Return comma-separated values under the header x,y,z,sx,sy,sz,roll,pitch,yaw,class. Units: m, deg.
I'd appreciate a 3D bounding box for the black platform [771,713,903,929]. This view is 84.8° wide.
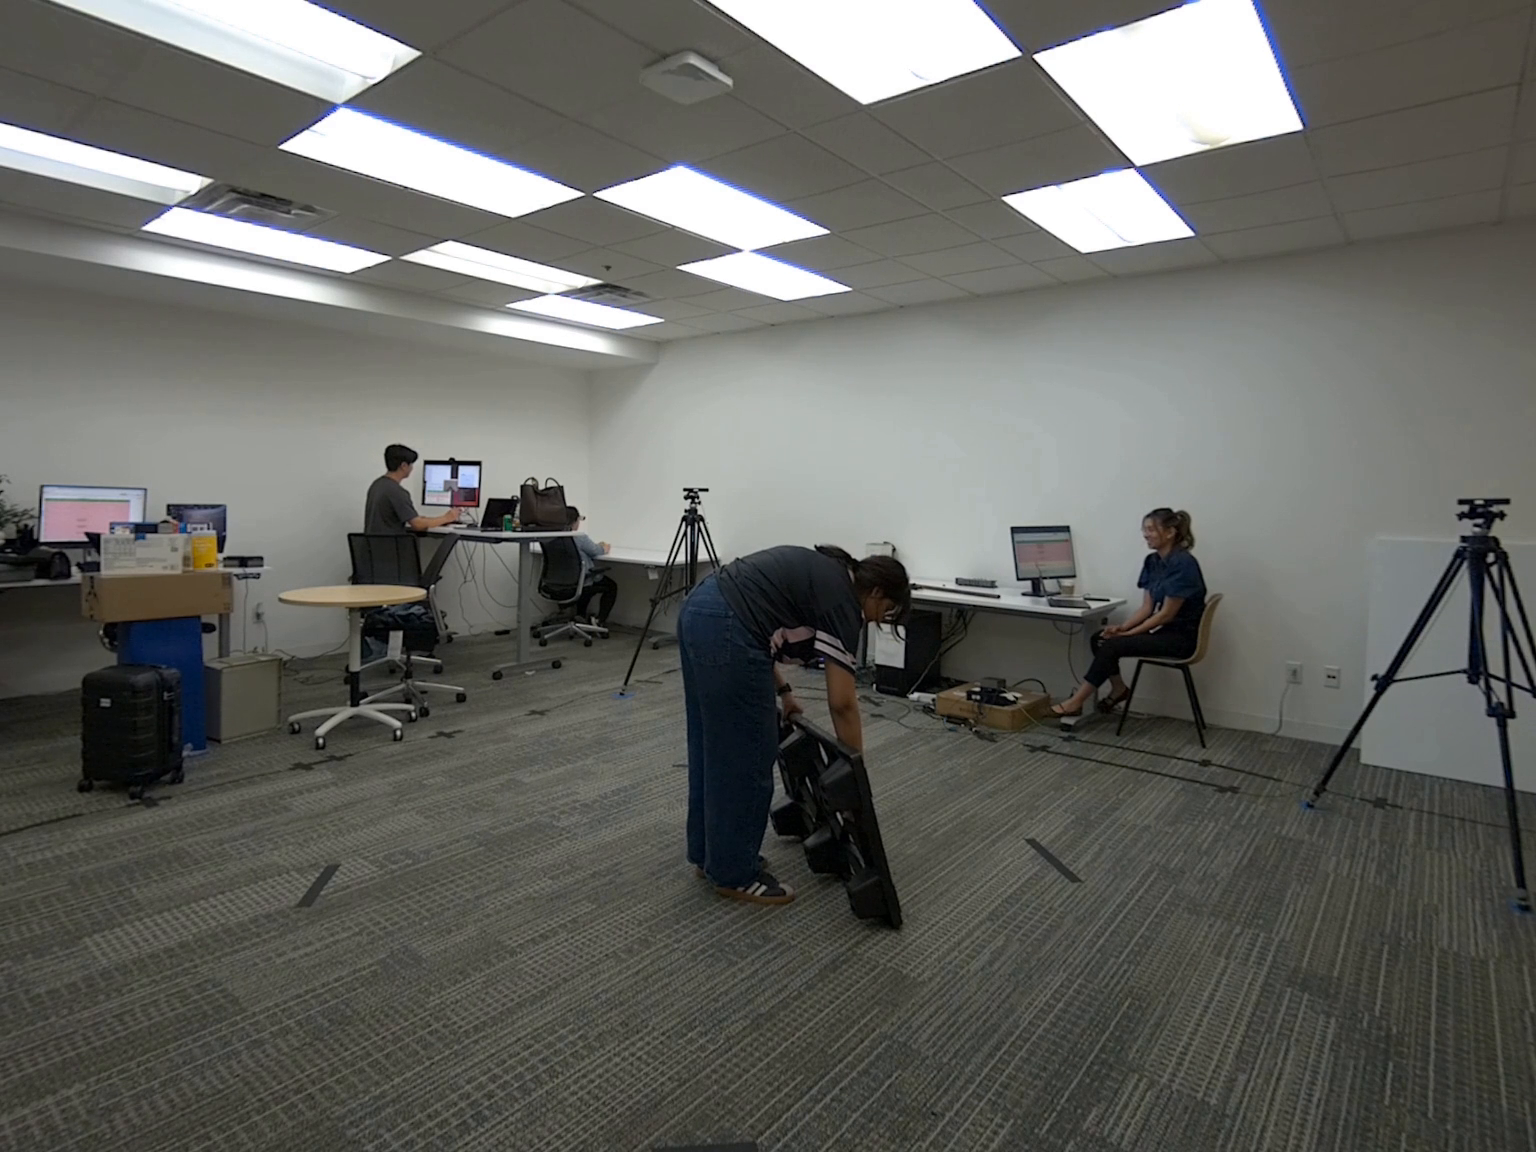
x,y,z,sx,sy,sz,roll,pitch,yaw,class
0.155,0.812,3.033,0.141,0.600,0.824,-16,9,-19,black platform
